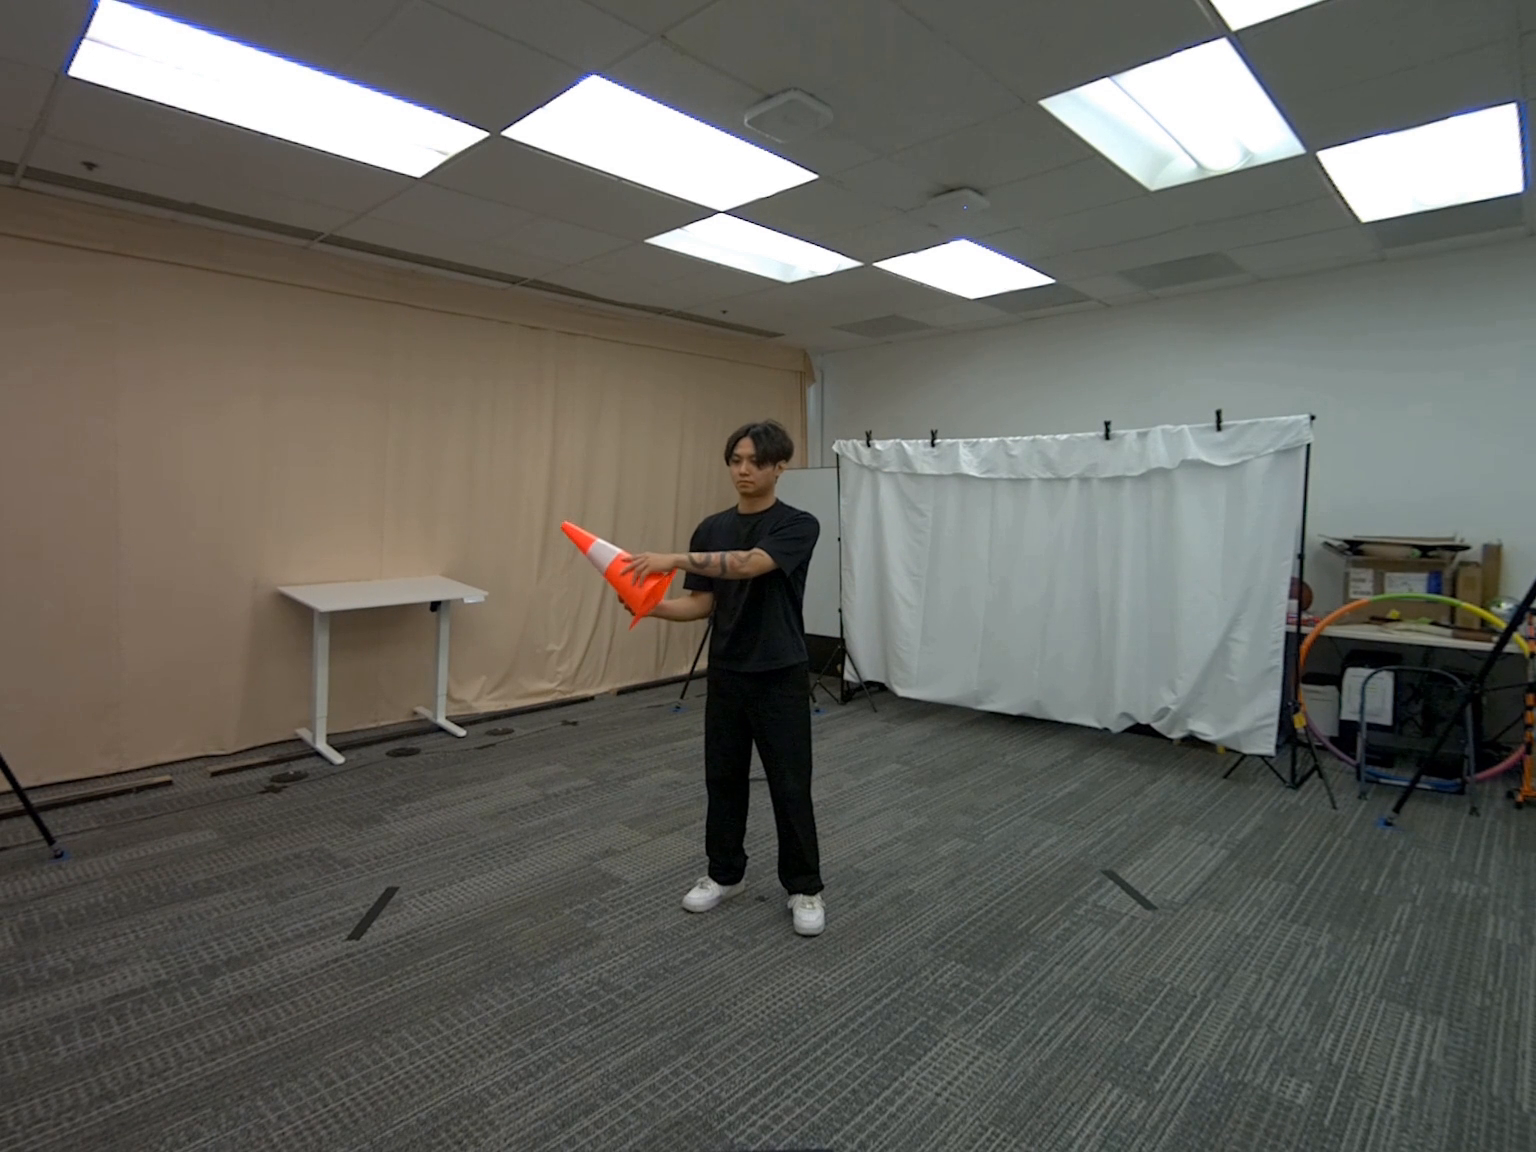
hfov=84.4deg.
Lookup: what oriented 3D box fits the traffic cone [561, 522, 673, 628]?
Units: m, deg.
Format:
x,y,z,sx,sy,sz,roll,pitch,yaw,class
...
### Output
x,y,z,sx,sy,sz,roll,pitch,yaw,class
-0.501,-0.038,2.677,0.387,0.203,0.203,37,37,7,traffic cone
